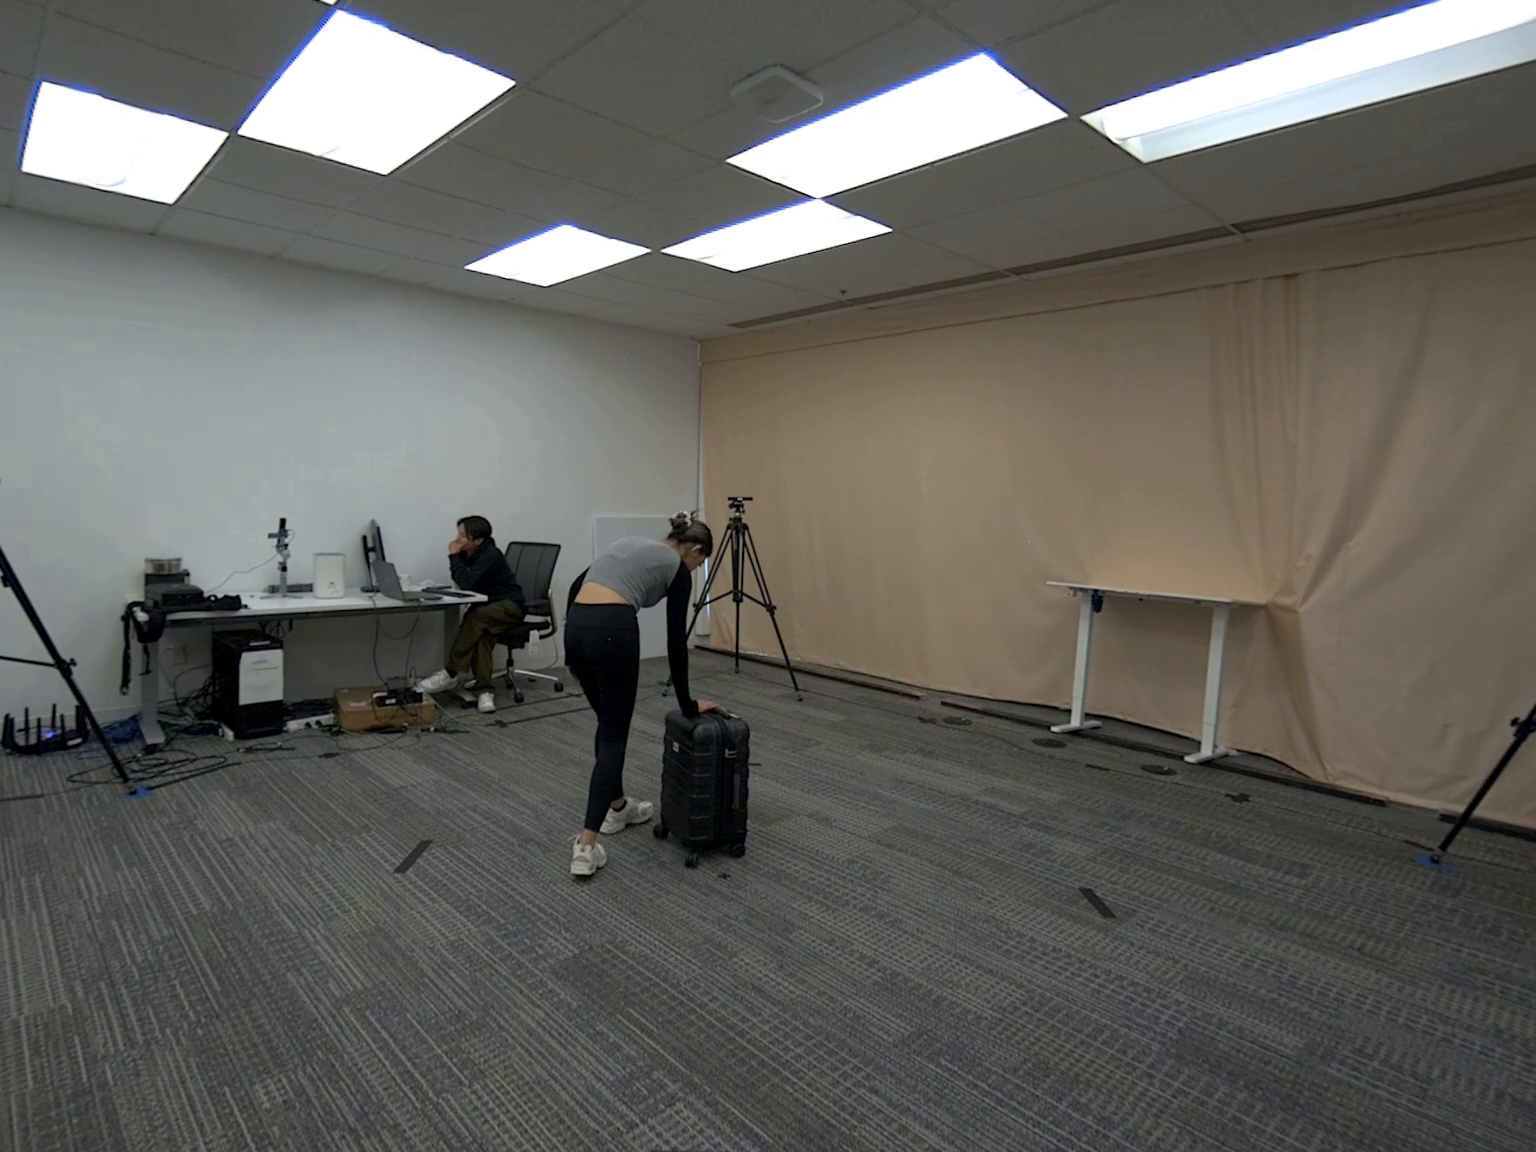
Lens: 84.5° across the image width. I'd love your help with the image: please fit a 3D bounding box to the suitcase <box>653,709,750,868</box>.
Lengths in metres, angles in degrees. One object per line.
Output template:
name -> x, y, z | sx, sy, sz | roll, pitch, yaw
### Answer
suitcase -> -0.263, 0.805, 3.360 | 0.243, 0.549, 0.383 | 2, 2, -28
